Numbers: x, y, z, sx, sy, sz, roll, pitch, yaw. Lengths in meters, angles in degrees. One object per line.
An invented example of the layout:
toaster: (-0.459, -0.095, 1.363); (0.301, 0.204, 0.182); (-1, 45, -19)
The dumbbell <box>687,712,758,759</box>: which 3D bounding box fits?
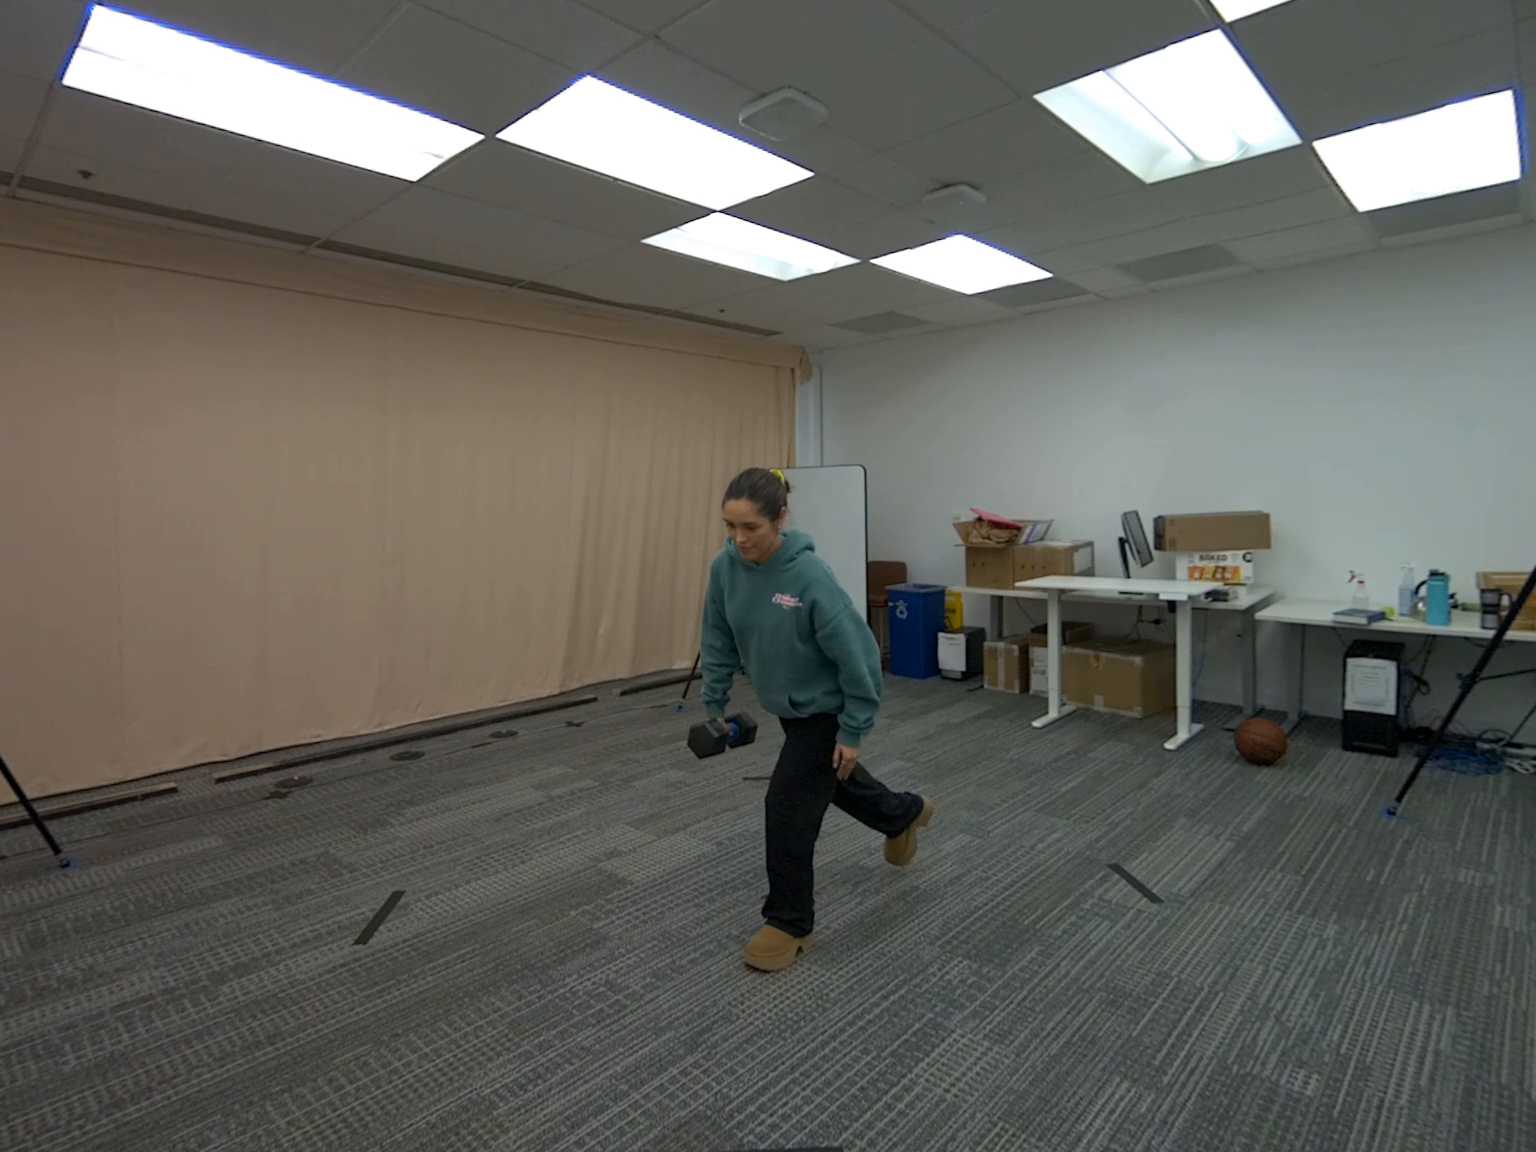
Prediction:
dumbbell: (-0.137, 0.519, 2.707); (0.126, 0.109, 0.285); (44, 17, 21)
